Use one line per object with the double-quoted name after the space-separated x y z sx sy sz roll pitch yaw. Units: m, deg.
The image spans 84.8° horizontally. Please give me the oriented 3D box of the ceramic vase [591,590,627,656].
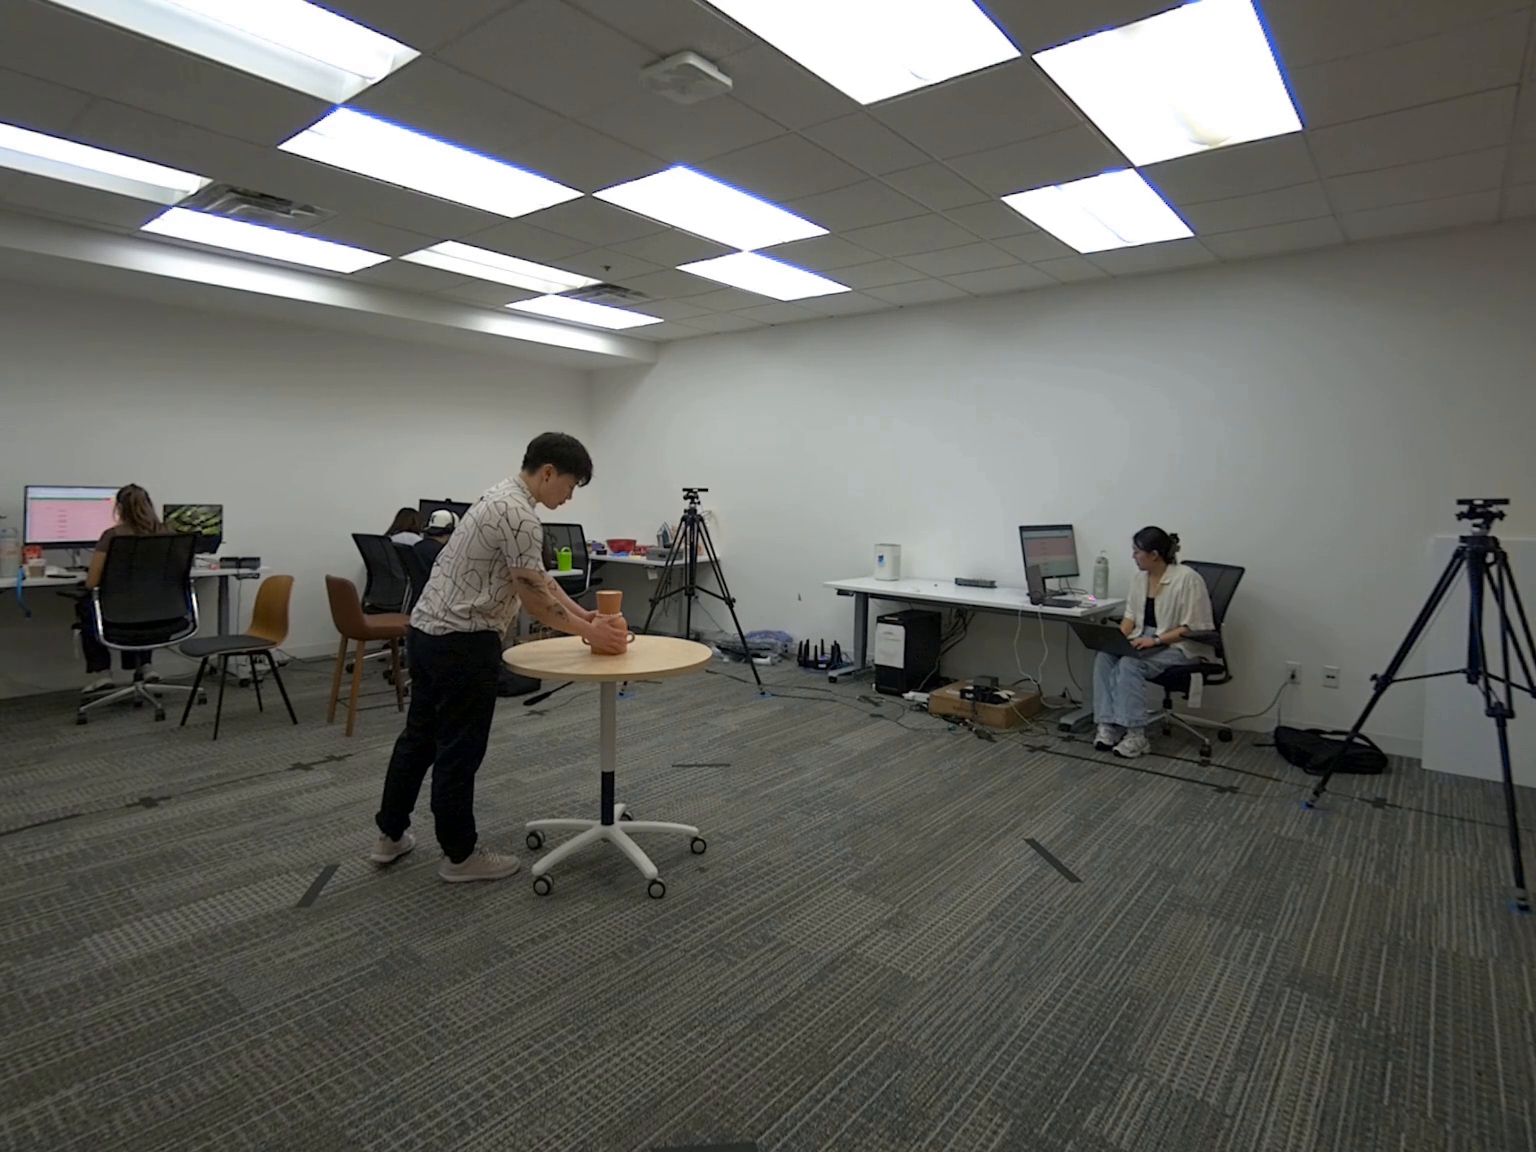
-0.610 0.171 3.143 0.138 0.219 0.155 1 4 30 "ceramic vase"
